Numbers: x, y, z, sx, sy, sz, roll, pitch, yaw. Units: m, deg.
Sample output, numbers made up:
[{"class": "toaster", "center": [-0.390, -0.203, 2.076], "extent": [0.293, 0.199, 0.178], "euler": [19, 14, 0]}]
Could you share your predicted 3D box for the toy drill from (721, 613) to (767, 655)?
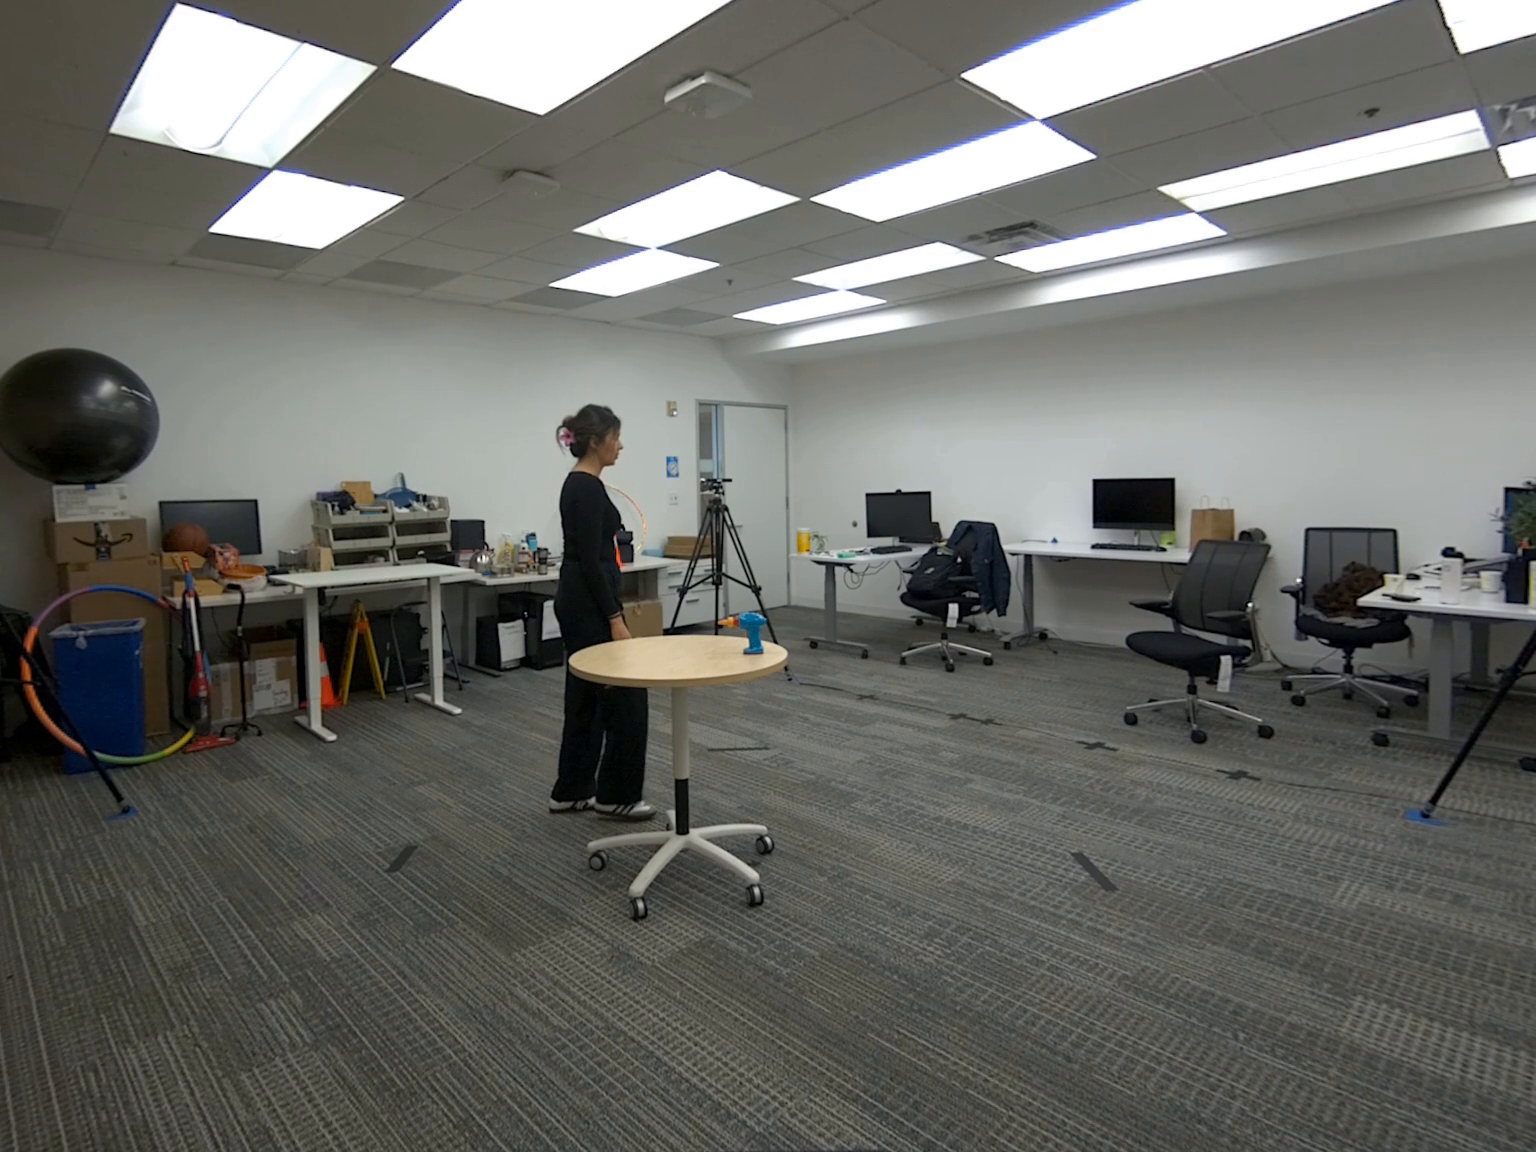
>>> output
[{"class": "toy drill", "center": [-0.082, 0.202, 2.994], "extent": [0.170, 0.145, 0.061], "euler": [-2, 4, -1]}]
